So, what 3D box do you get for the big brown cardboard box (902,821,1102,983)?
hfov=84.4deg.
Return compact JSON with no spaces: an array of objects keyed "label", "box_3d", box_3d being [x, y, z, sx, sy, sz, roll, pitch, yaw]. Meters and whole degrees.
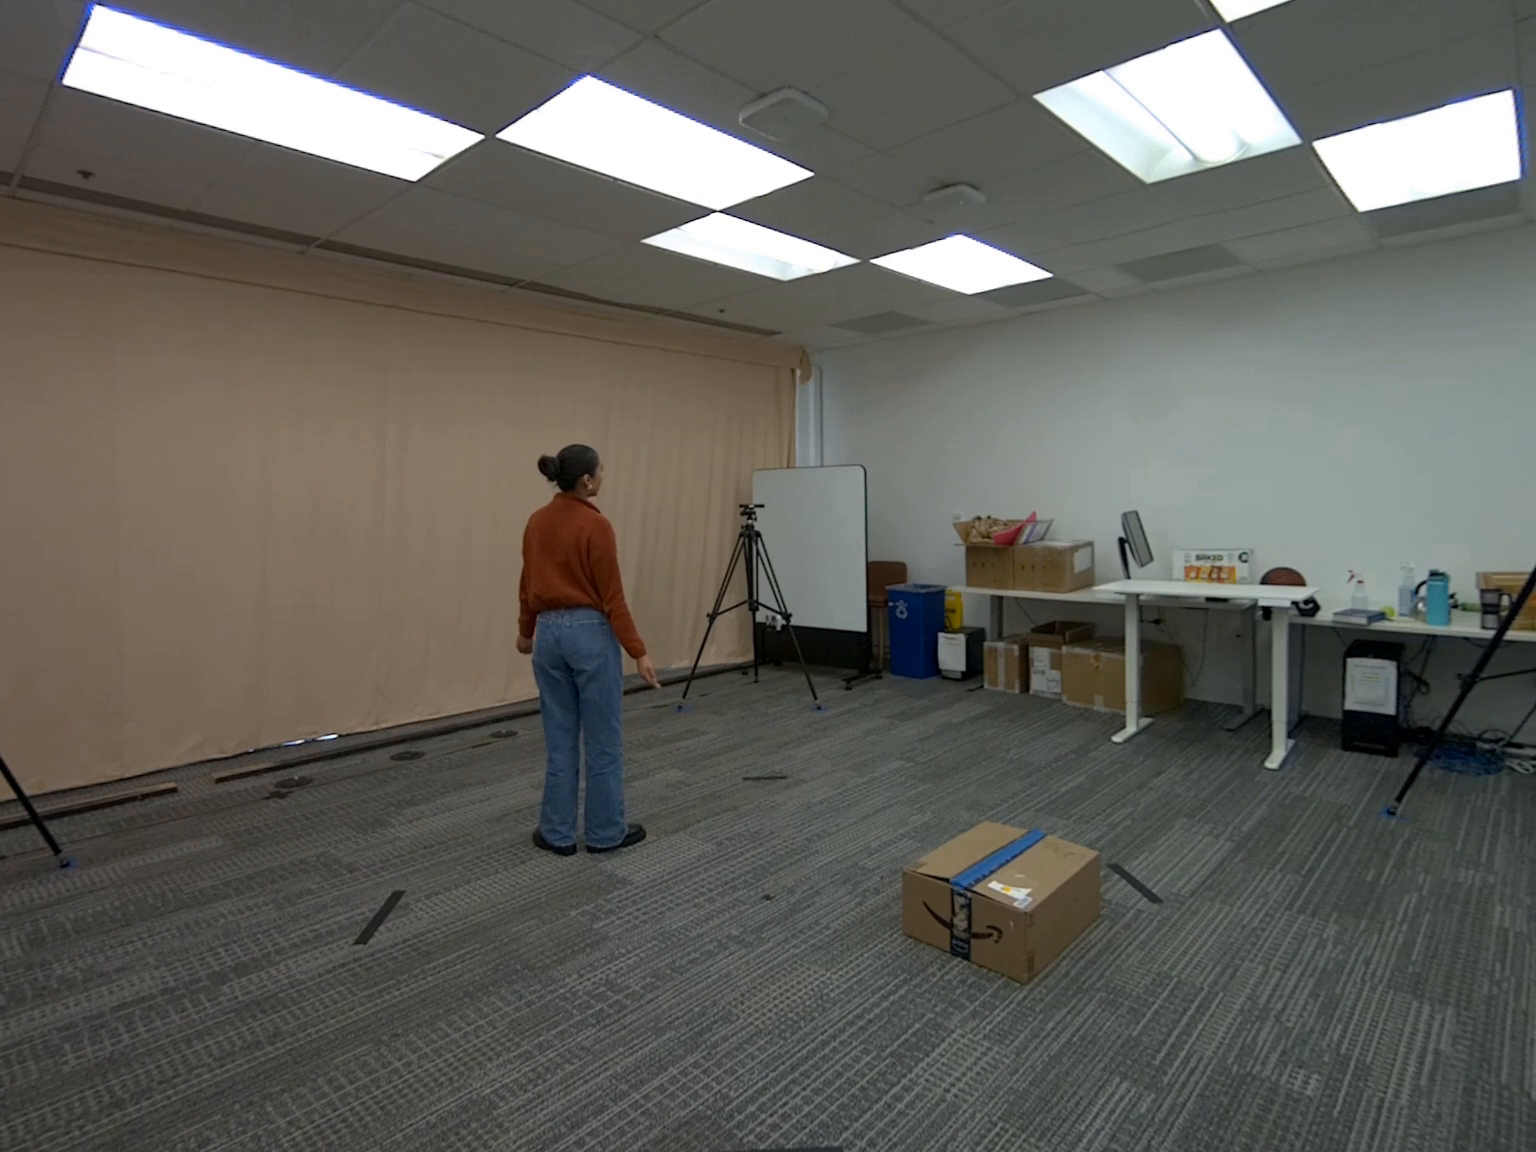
[{"label":"big brown cardboard box","box_3d":[0.773,1.035,2.750,0.431,0.232,0.571,3,5,43]}]
